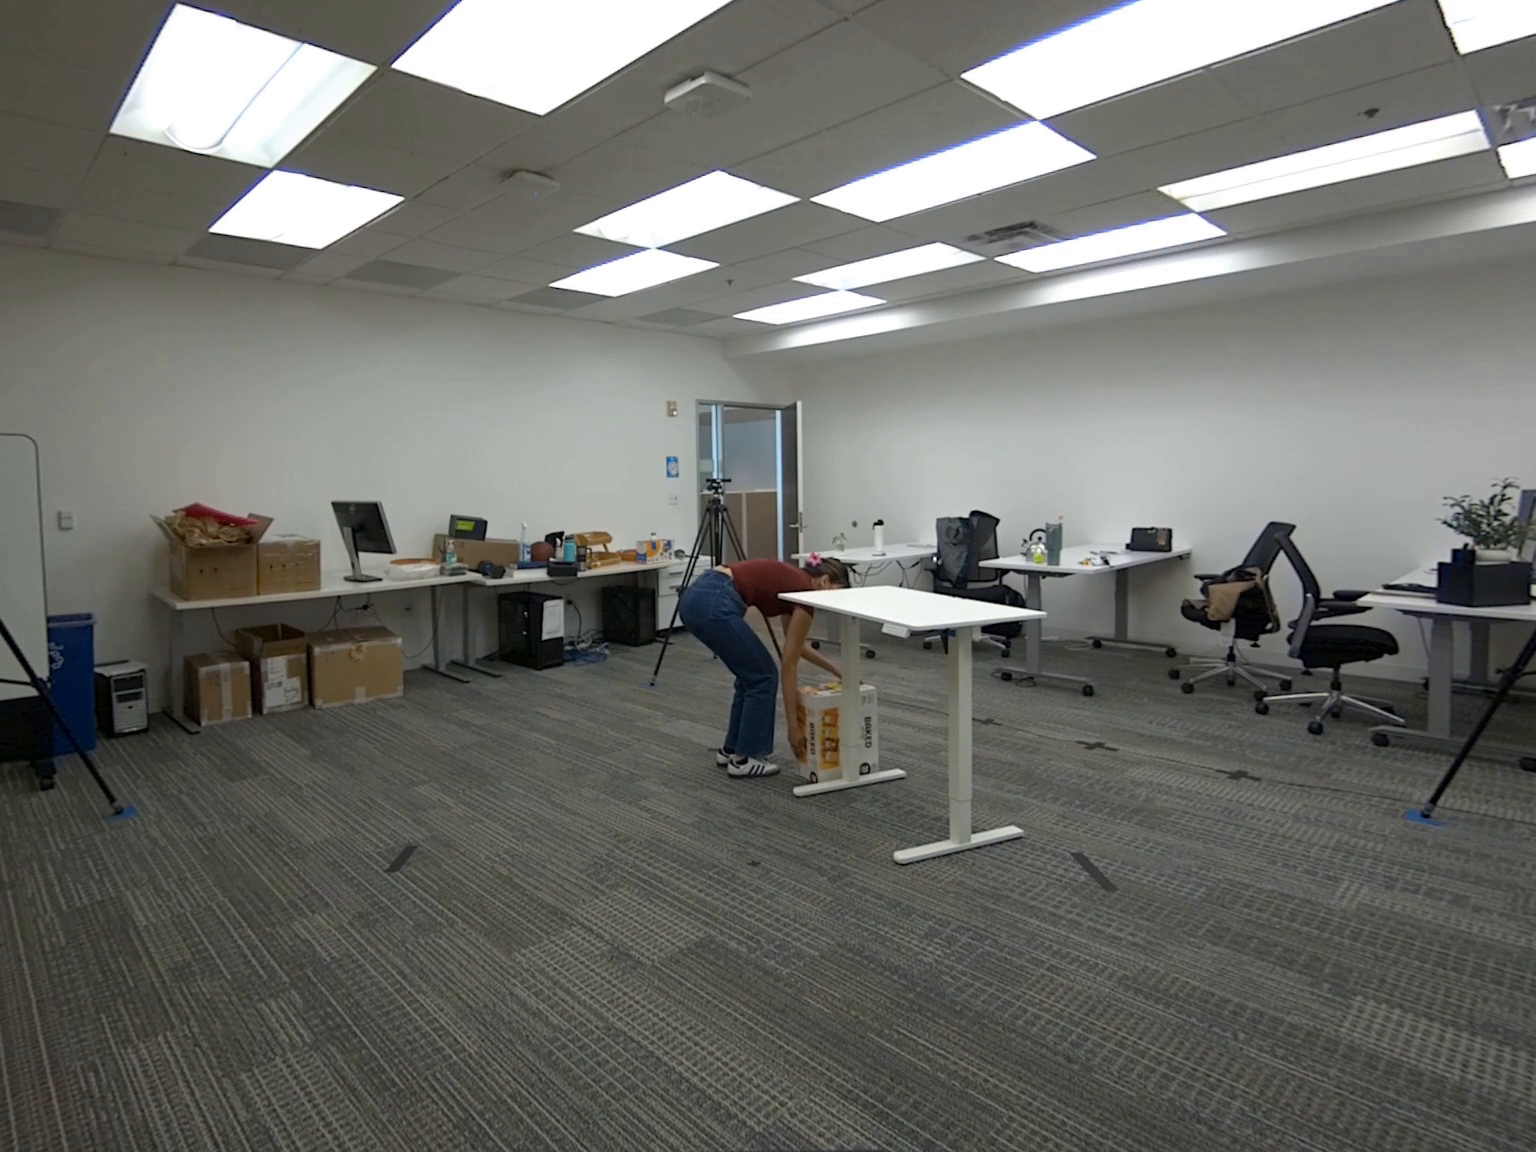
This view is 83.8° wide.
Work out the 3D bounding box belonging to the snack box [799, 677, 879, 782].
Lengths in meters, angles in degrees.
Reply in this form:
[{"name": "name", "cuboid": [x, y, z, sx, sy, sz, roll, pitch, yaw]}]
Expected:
[{"name": "snack box", "cuboid": [0.316, 0.721, 4.040, 0.333, 0.404, 0.211, -4, 4, -28]}]
